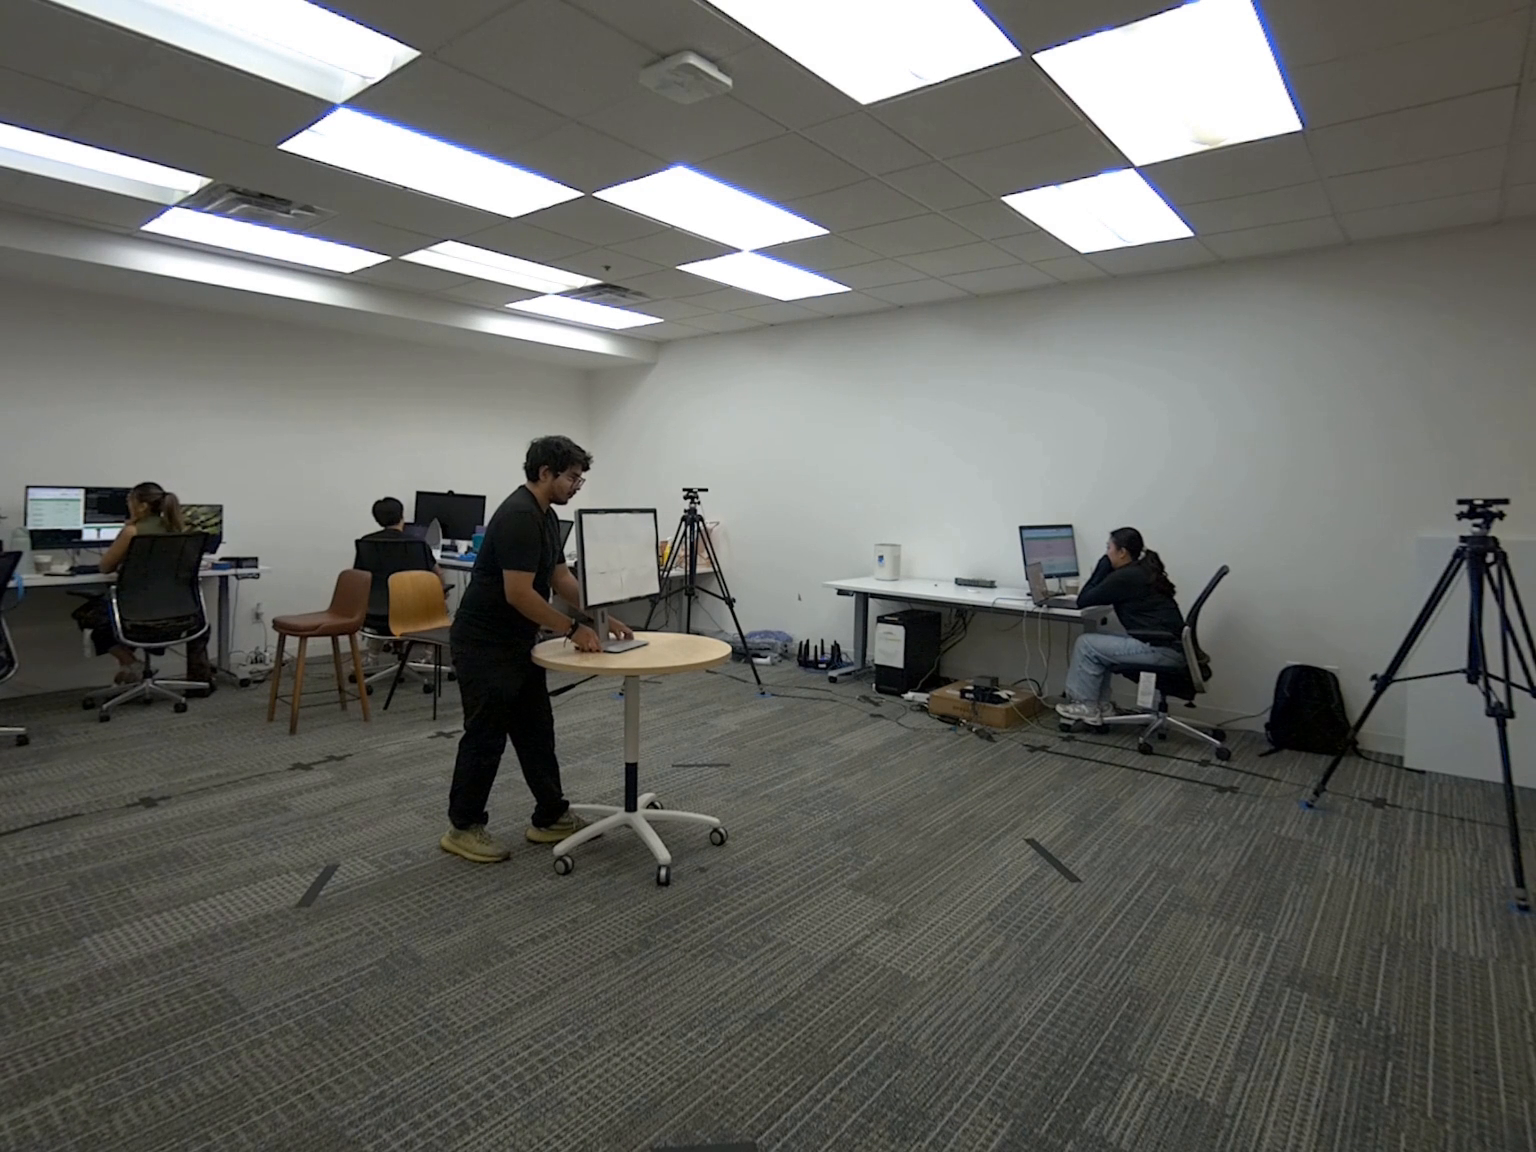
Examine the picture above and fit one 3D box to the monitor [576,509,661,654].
[{"bbox_3d":[-0.639,0.009,3.299,0.215,0.553,0.553,1,4,23],"label":"monitor"}]
